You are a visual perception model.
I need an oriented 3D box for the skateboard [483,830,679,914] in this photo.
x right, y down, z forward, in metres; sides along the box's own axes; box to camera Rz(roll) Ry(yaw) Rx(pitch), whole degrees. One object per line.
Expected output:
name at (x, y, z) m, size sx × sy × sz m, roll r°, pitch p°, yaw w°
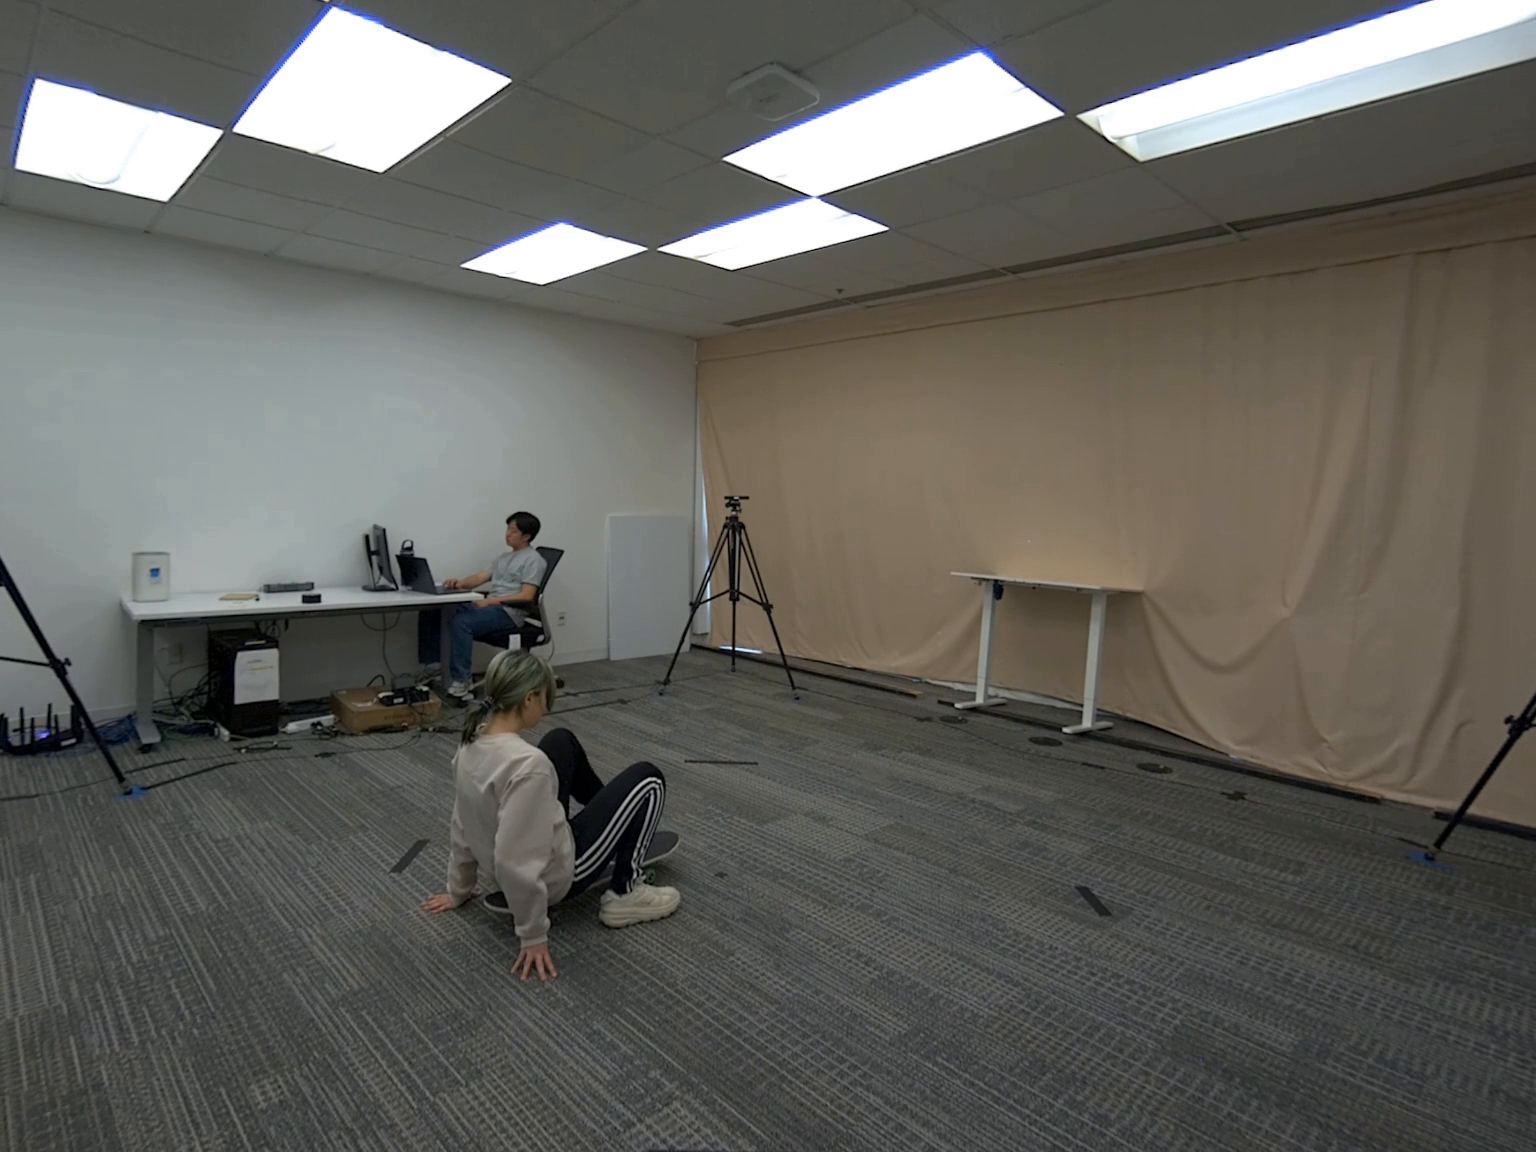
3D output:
skateboard at (-0.608, 1.064, 2.914) m, size 0.198 × 0.110 × 0.769 m, roll 1°, pitch 5°, yaw 40°
